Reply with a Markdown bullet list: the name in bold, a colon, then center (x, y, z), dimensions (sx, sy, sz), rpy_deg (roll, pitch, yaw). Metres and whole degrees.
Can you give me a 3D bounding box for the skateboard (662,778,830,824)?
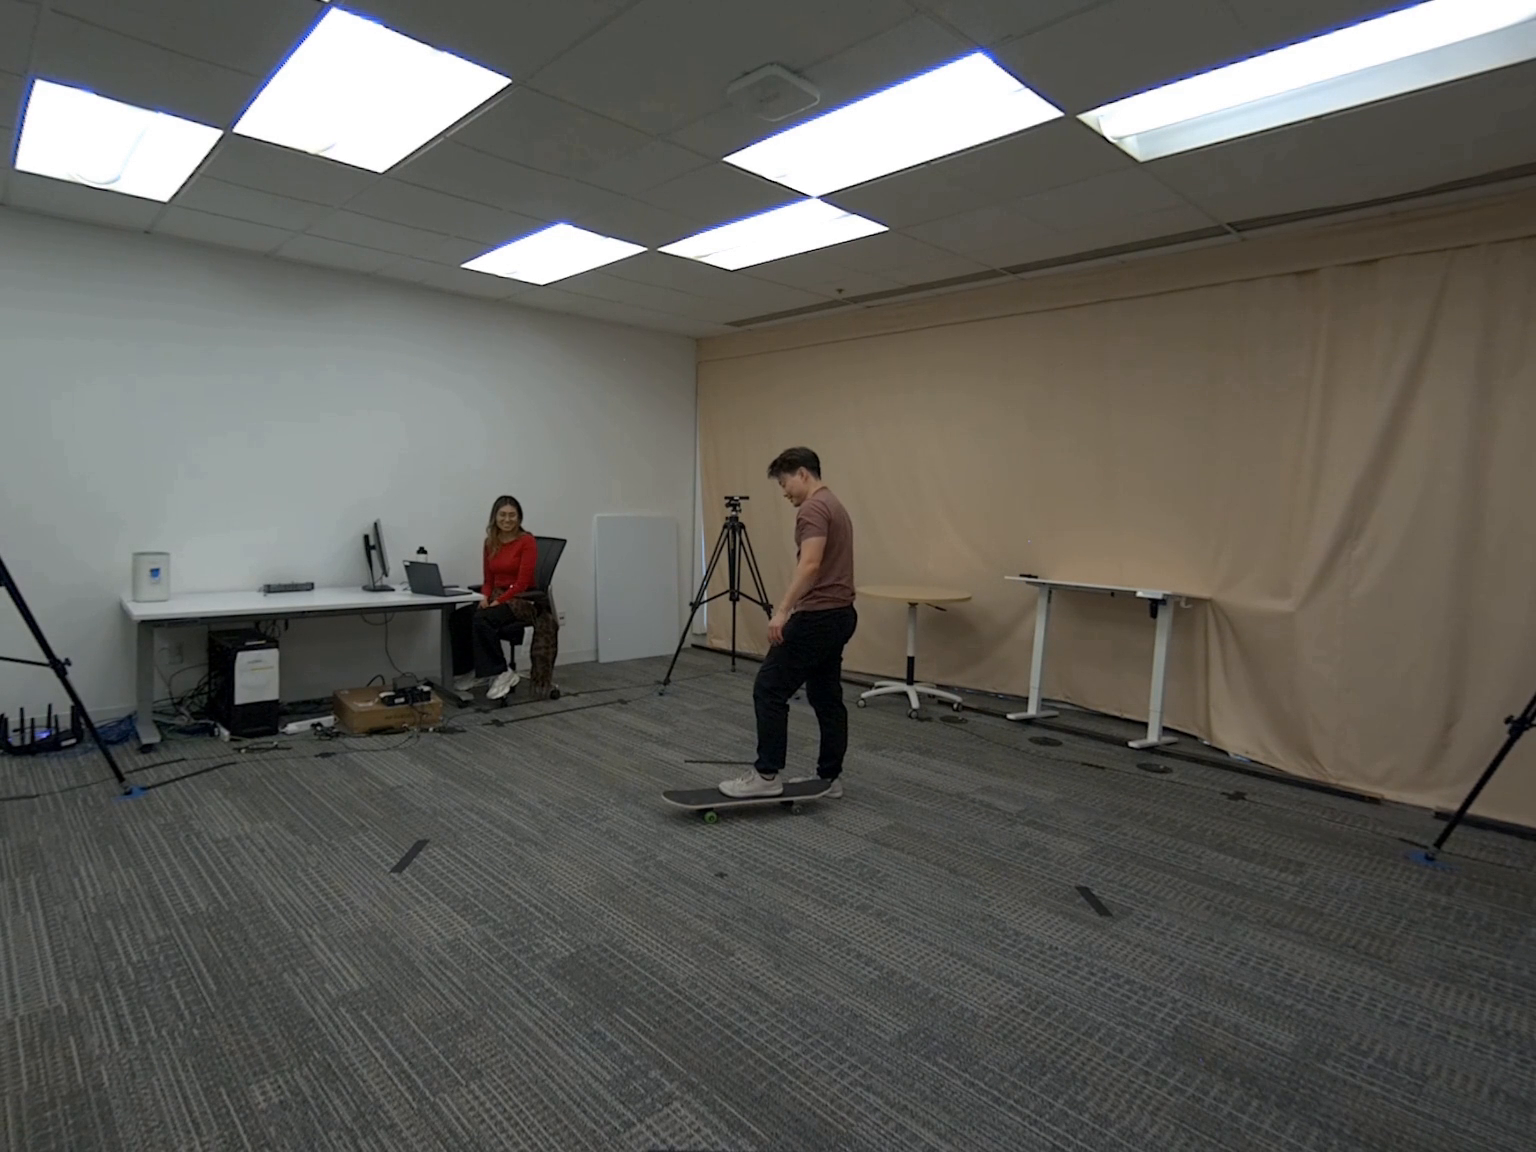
- **skateboard**: center (-0.087, 0.991, 3.734), dimensions (0.775, 0.110, 0.196), rpy_deg (-1, 5, -17)
